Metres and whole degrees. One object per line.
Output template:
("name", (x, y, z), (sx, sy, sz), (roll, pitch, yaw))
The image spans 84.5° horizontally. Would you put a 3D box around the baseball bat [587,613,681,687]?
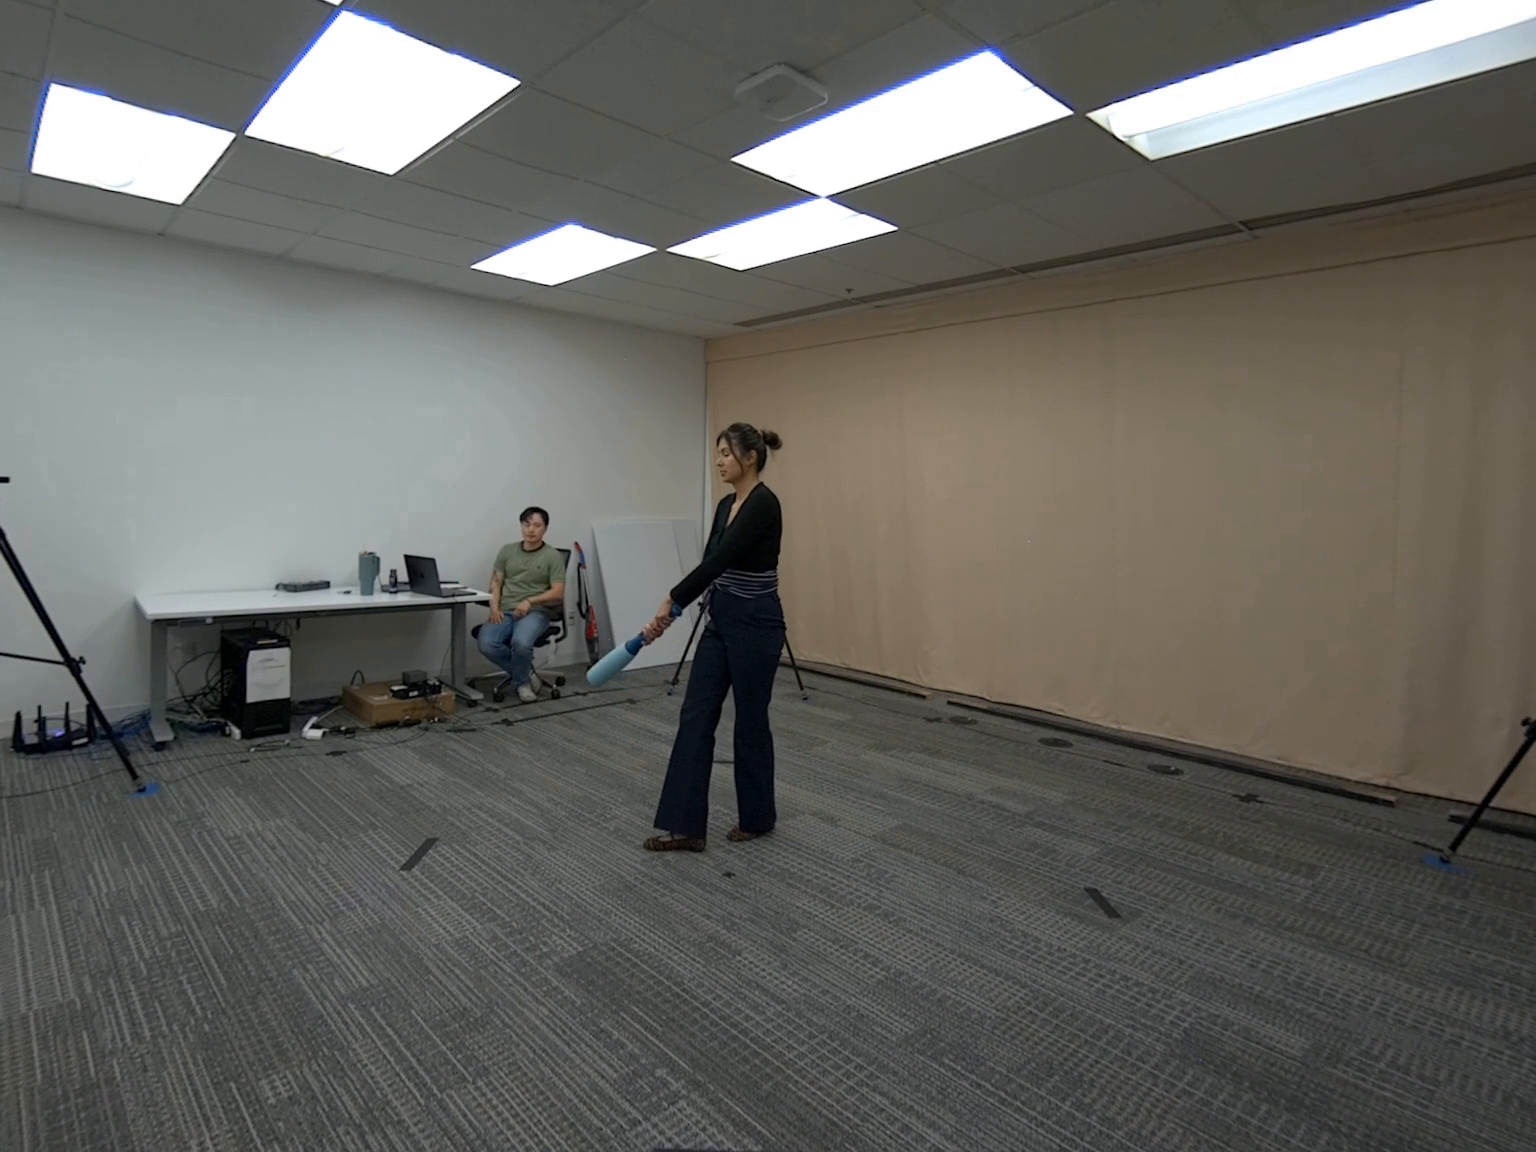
("baseball bat", (-0.547, 0.277, 3.413), (0.545, 0.090, 0.087), (-39, -15, 25))
